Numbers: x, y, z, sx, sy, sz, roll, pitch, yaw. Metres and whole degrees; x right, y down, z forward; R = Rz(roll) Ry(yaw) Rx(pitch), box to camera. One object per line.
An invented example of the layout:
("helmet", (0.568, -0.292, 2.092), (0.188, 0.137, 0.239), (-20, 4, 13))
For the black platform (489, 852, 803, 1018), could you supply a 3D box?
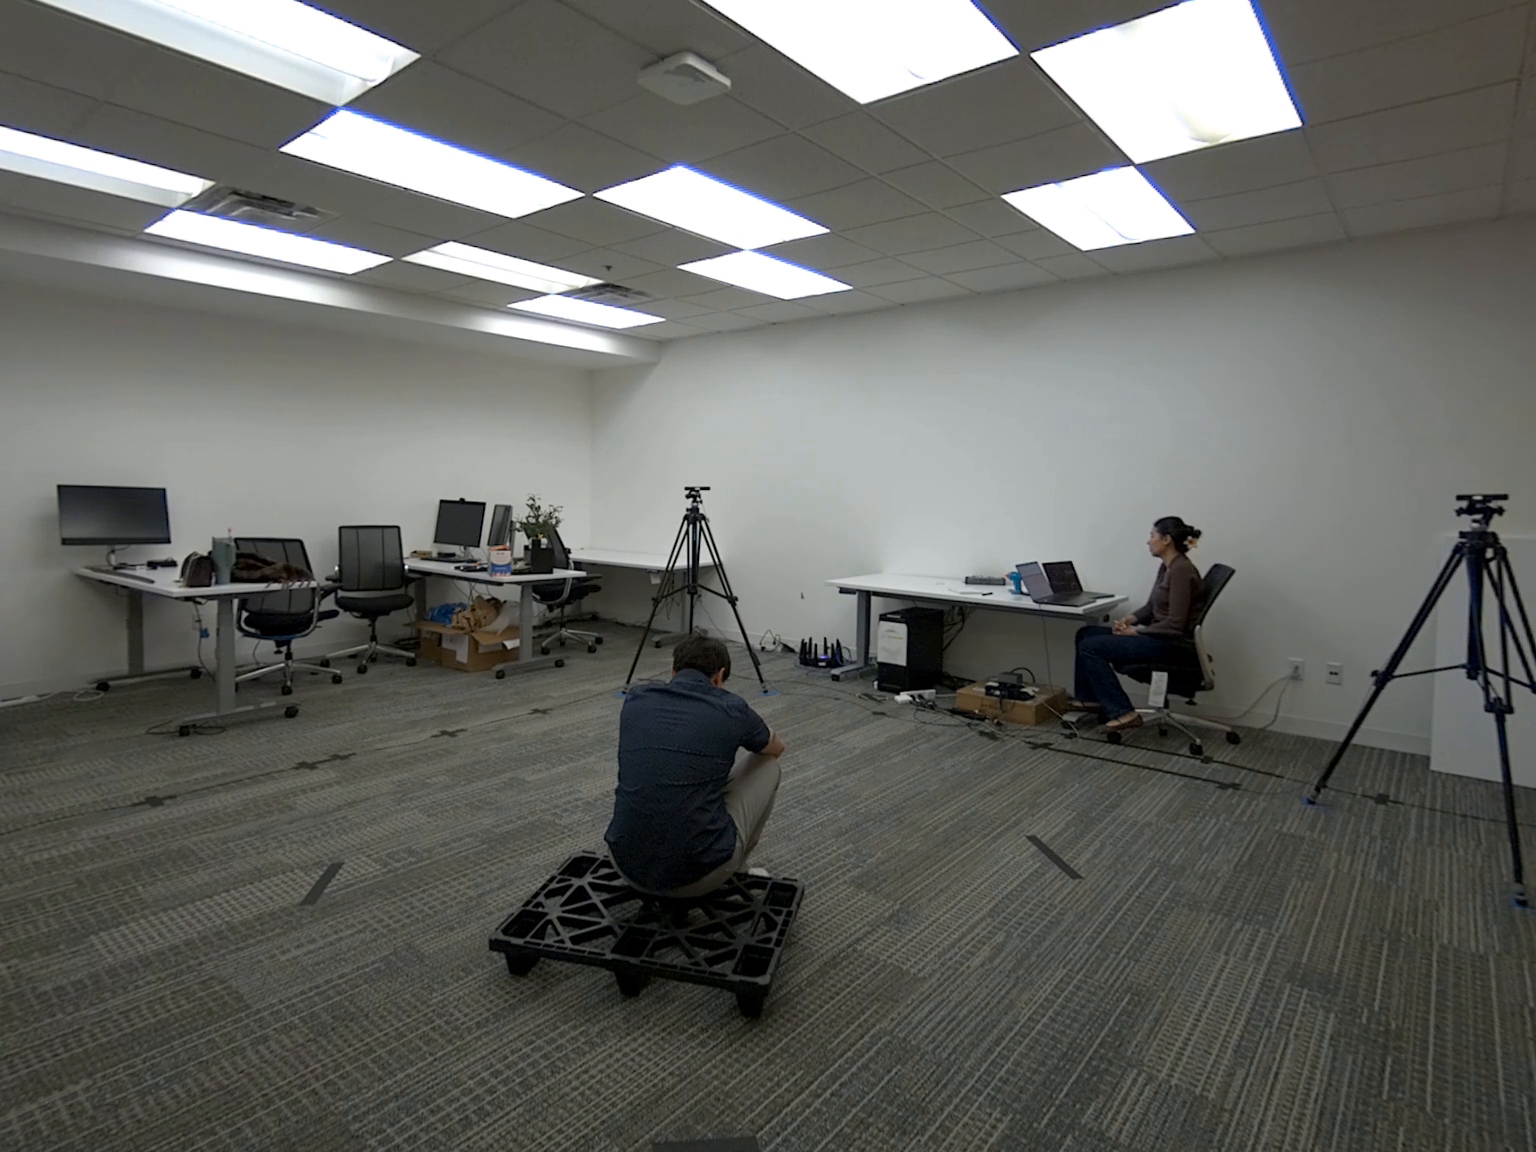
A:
("black platform", (-0.344, 1.053, 2.547), (0.818, 0.143, 0.598), (2, 5, 13))
